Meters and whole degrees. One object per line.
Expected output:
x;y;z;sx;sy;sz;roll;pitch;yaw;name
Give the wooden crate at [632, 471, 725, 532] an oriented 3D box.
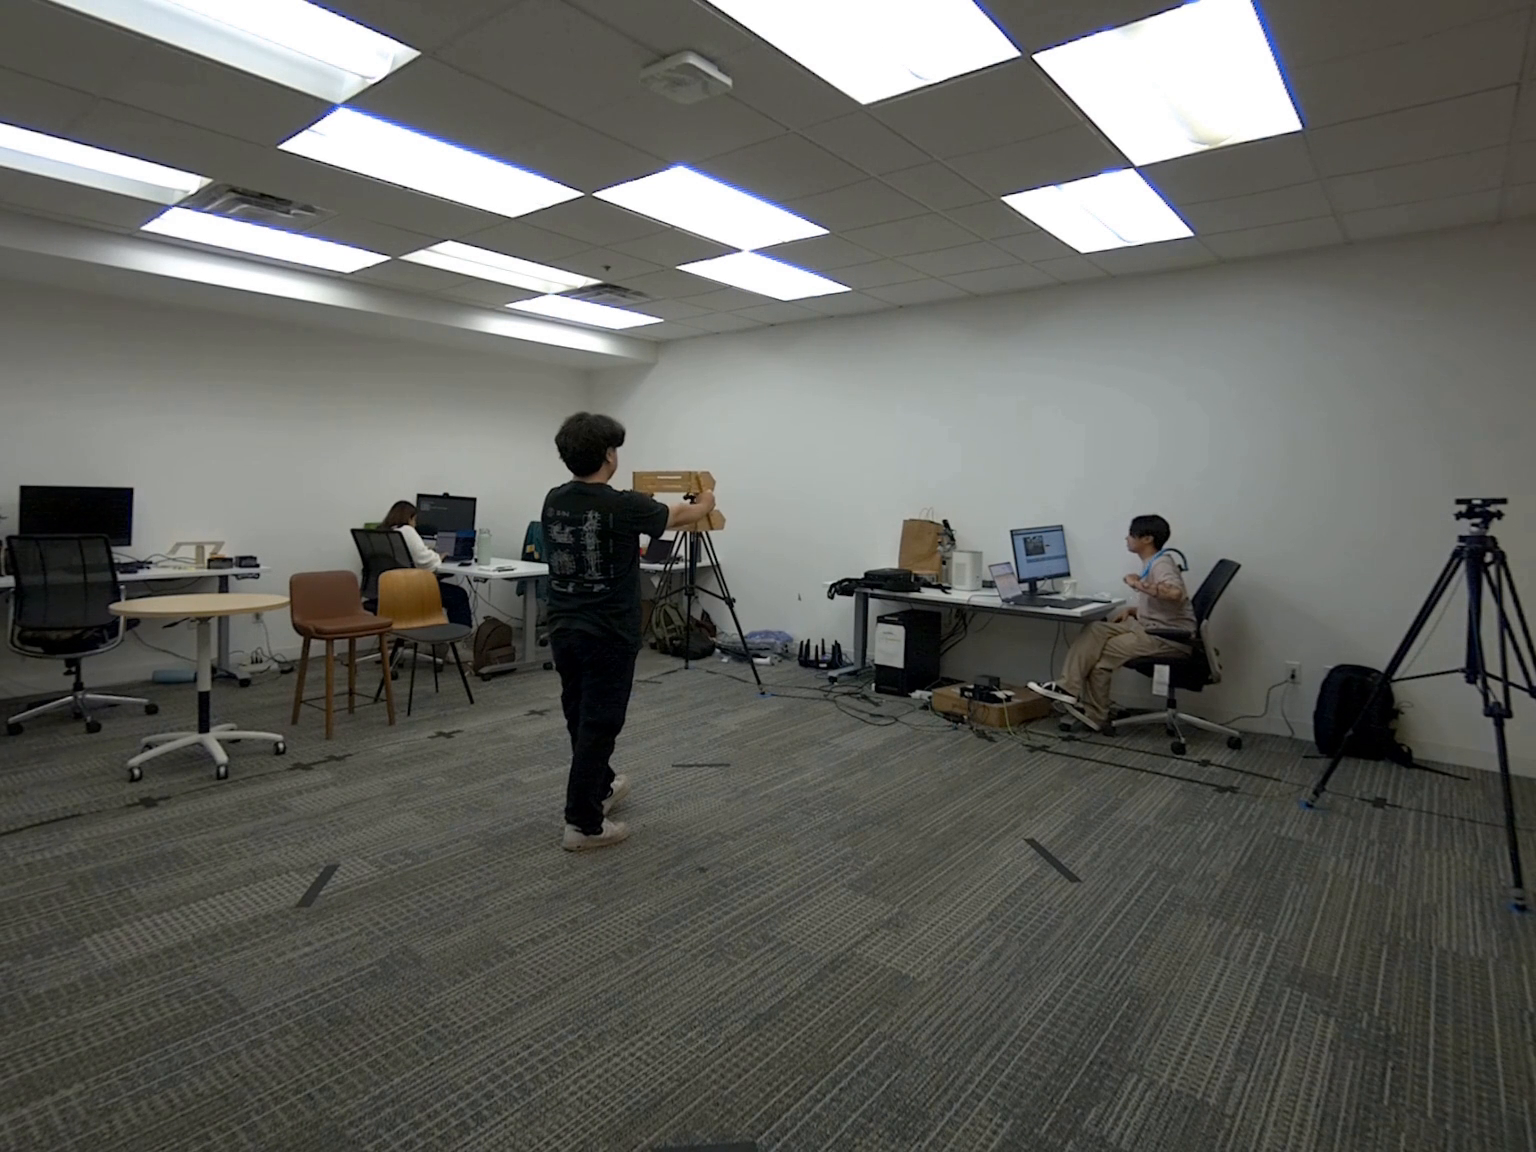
-0.402;-0.342;3.795;0.333;0.272;0.295;3;5;27;wooden crate
